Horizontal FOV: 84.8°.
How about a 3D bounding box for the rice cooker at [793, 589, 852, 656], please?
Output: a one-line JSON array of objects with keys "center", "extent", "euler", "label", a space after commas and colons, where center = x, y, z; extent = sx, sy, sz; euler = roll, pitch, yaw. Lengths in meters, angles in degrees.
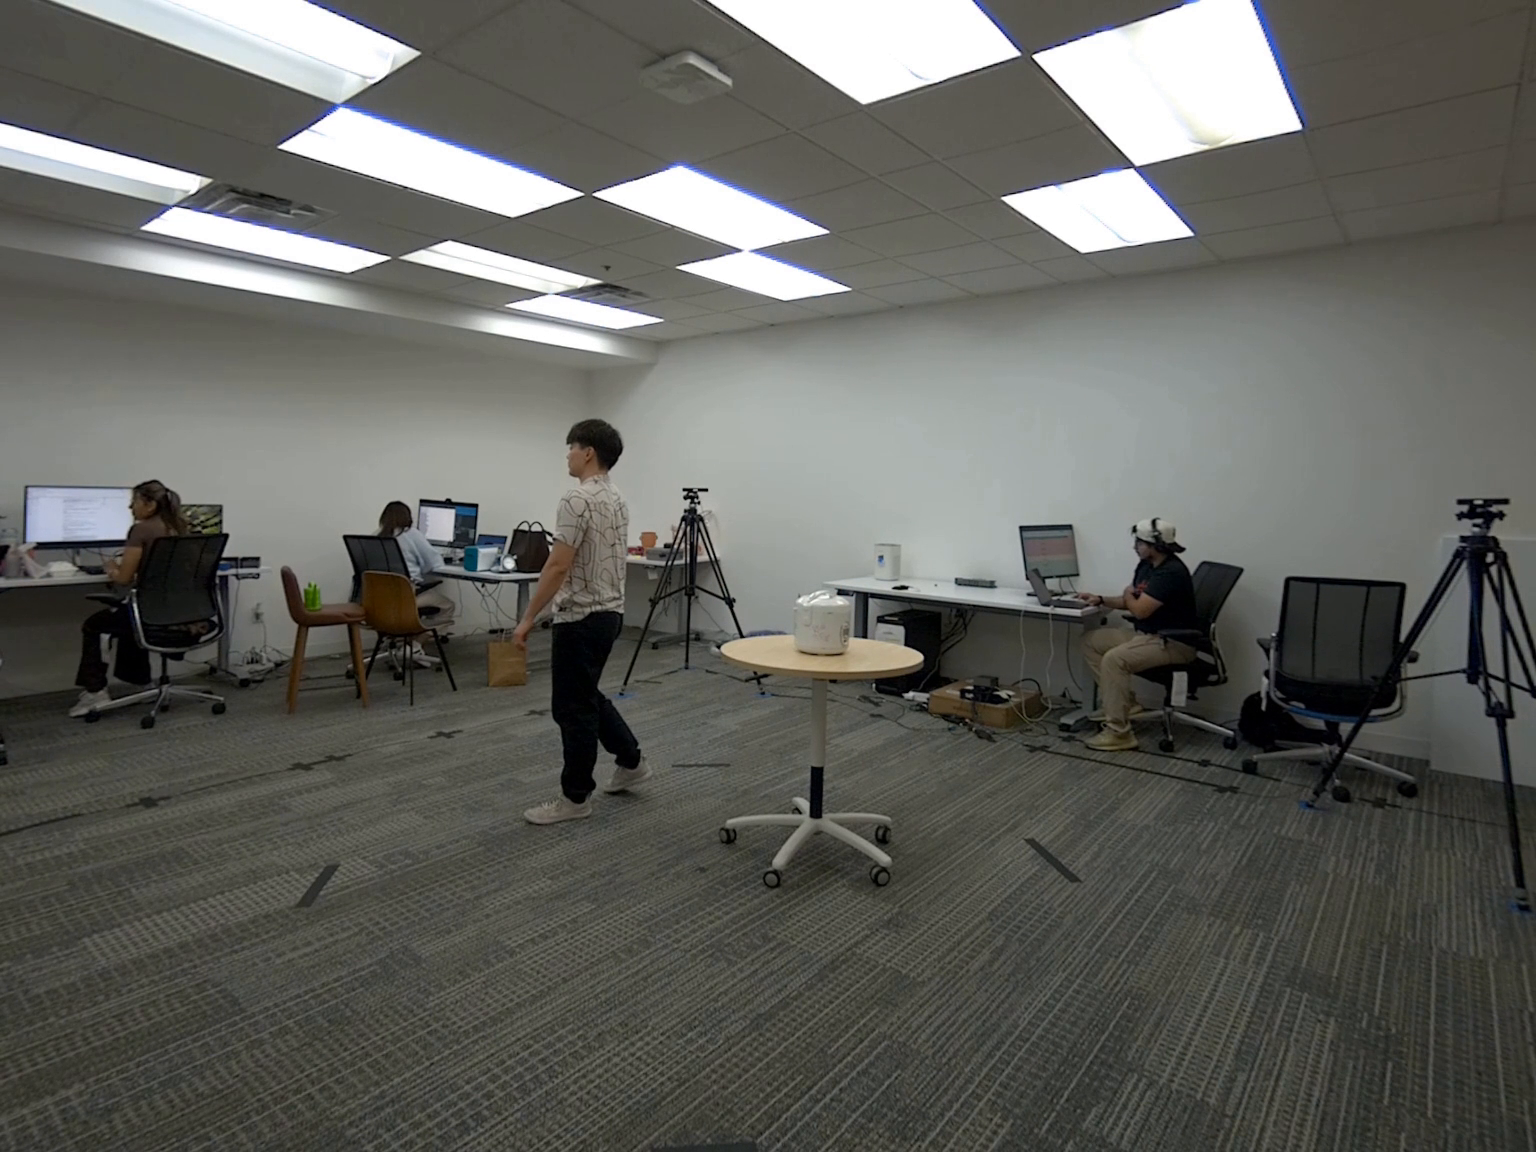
[{"center": [0.201, 0.168, 3.229], "extent": [0.224, 0.232, 0.214], "euler": [3, 4, 41], "label": "rice cooker"}]
